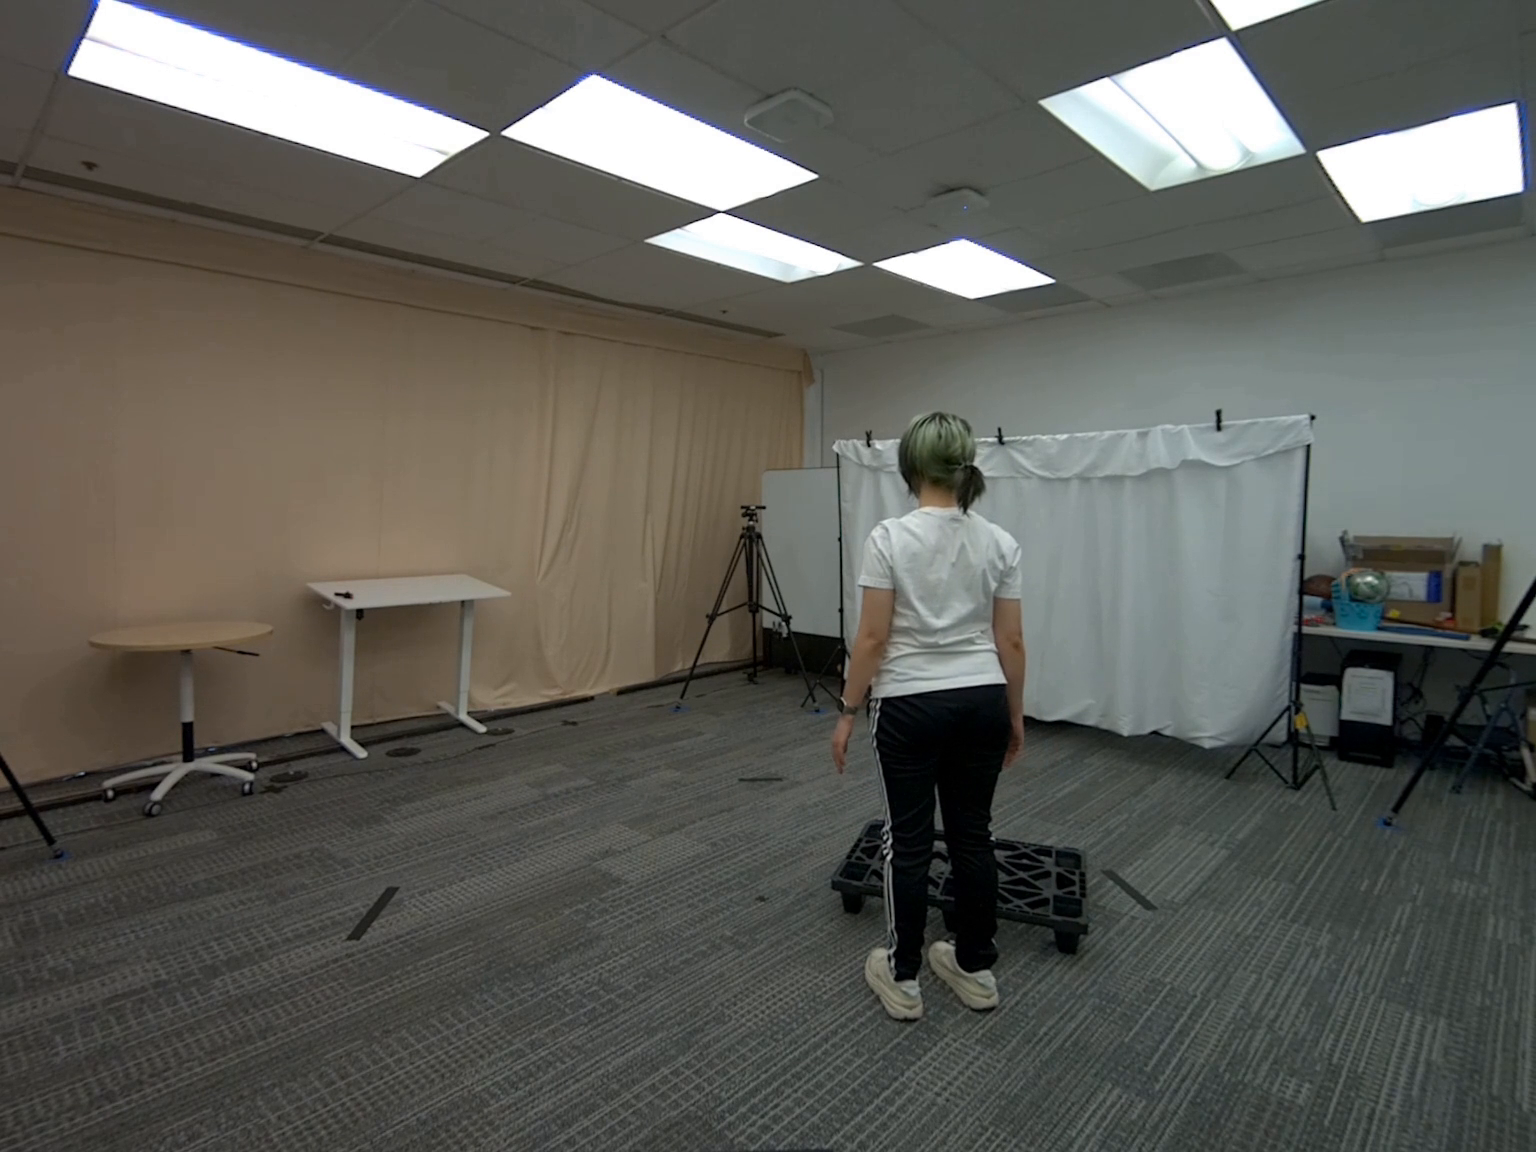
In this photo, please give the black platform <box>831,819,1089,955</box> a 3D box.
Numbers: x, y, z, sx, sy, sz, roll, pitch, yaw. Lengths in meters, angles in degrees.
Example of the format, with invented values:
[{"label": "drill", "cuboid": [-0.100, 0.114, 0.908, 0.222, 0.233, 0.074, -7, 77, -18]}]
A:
[{"label": "black platform", "cuboid": [0.689, 1.074, 2.946, 0.824, 0.143, 0.593, 1, 5, 21]}]
